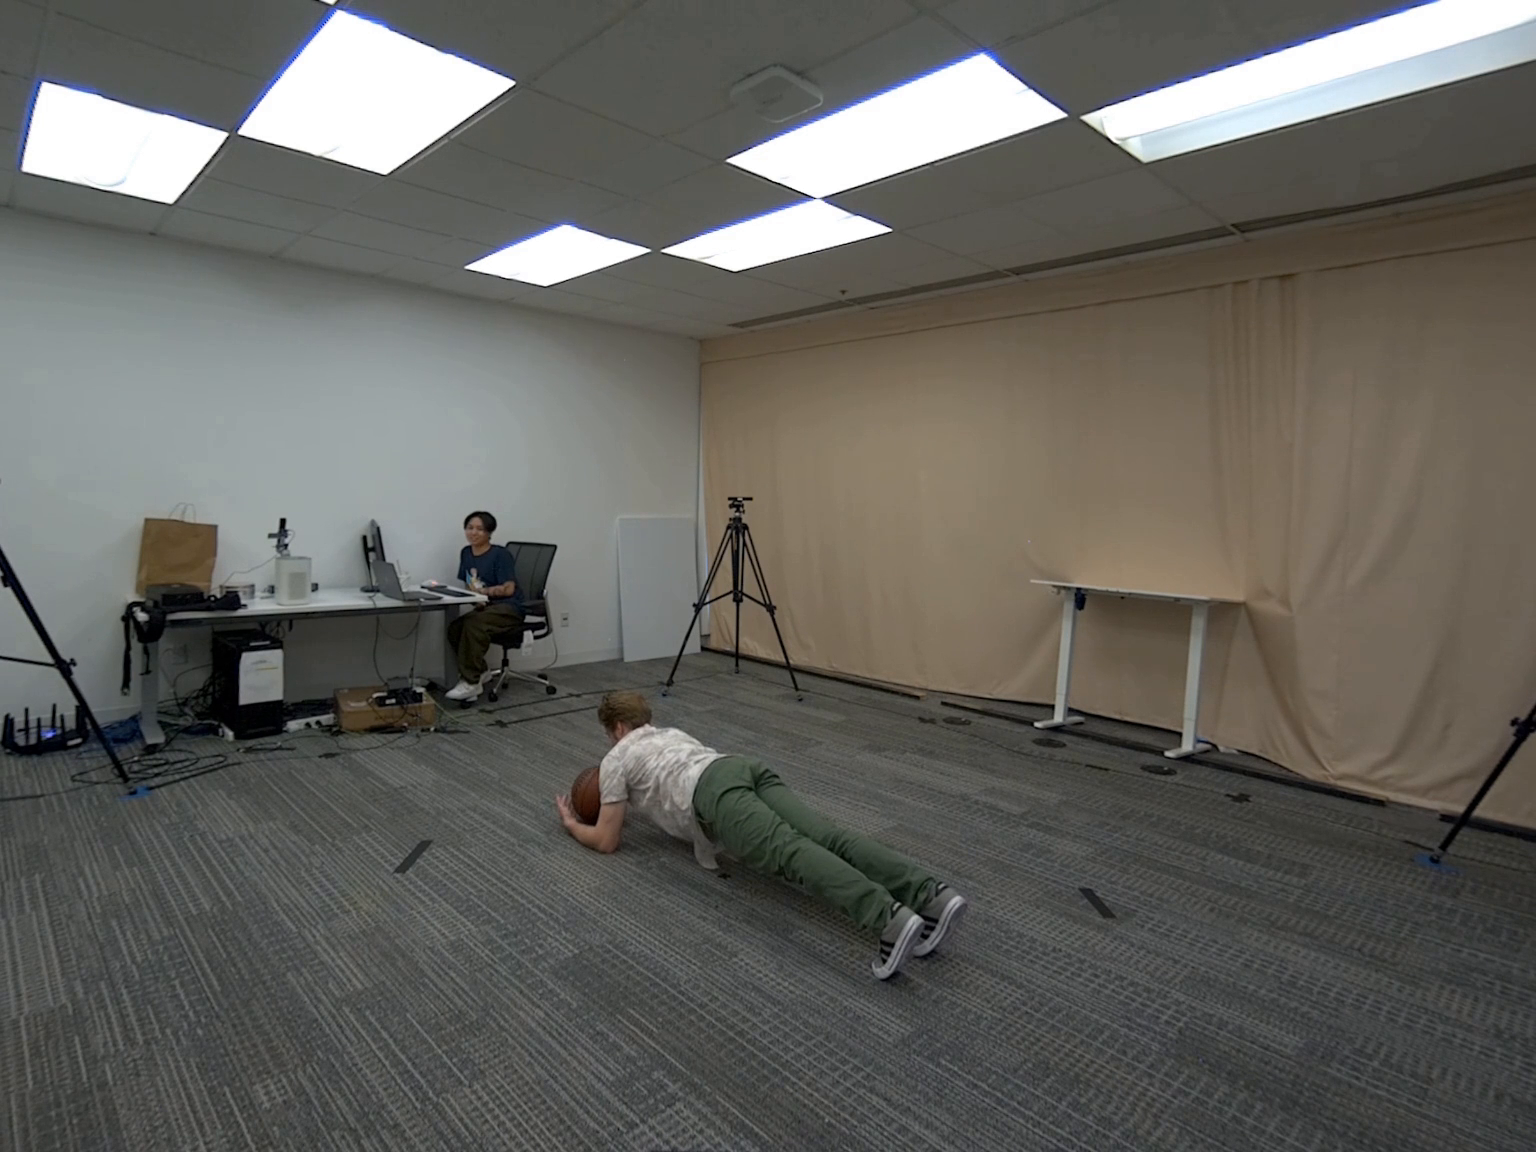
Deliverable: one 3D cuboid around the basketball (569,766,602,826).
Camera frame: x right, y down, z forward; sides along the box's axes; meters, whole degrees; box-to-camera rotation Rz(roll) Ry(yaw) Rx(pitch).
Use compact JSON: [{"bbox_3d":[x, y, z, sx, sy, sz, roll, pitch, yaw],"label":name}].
[{"bbox_3d":[-0.715,0.927,3.593,0.236,0.235,0.237,1,4,-1],"label":"basketball"}]
